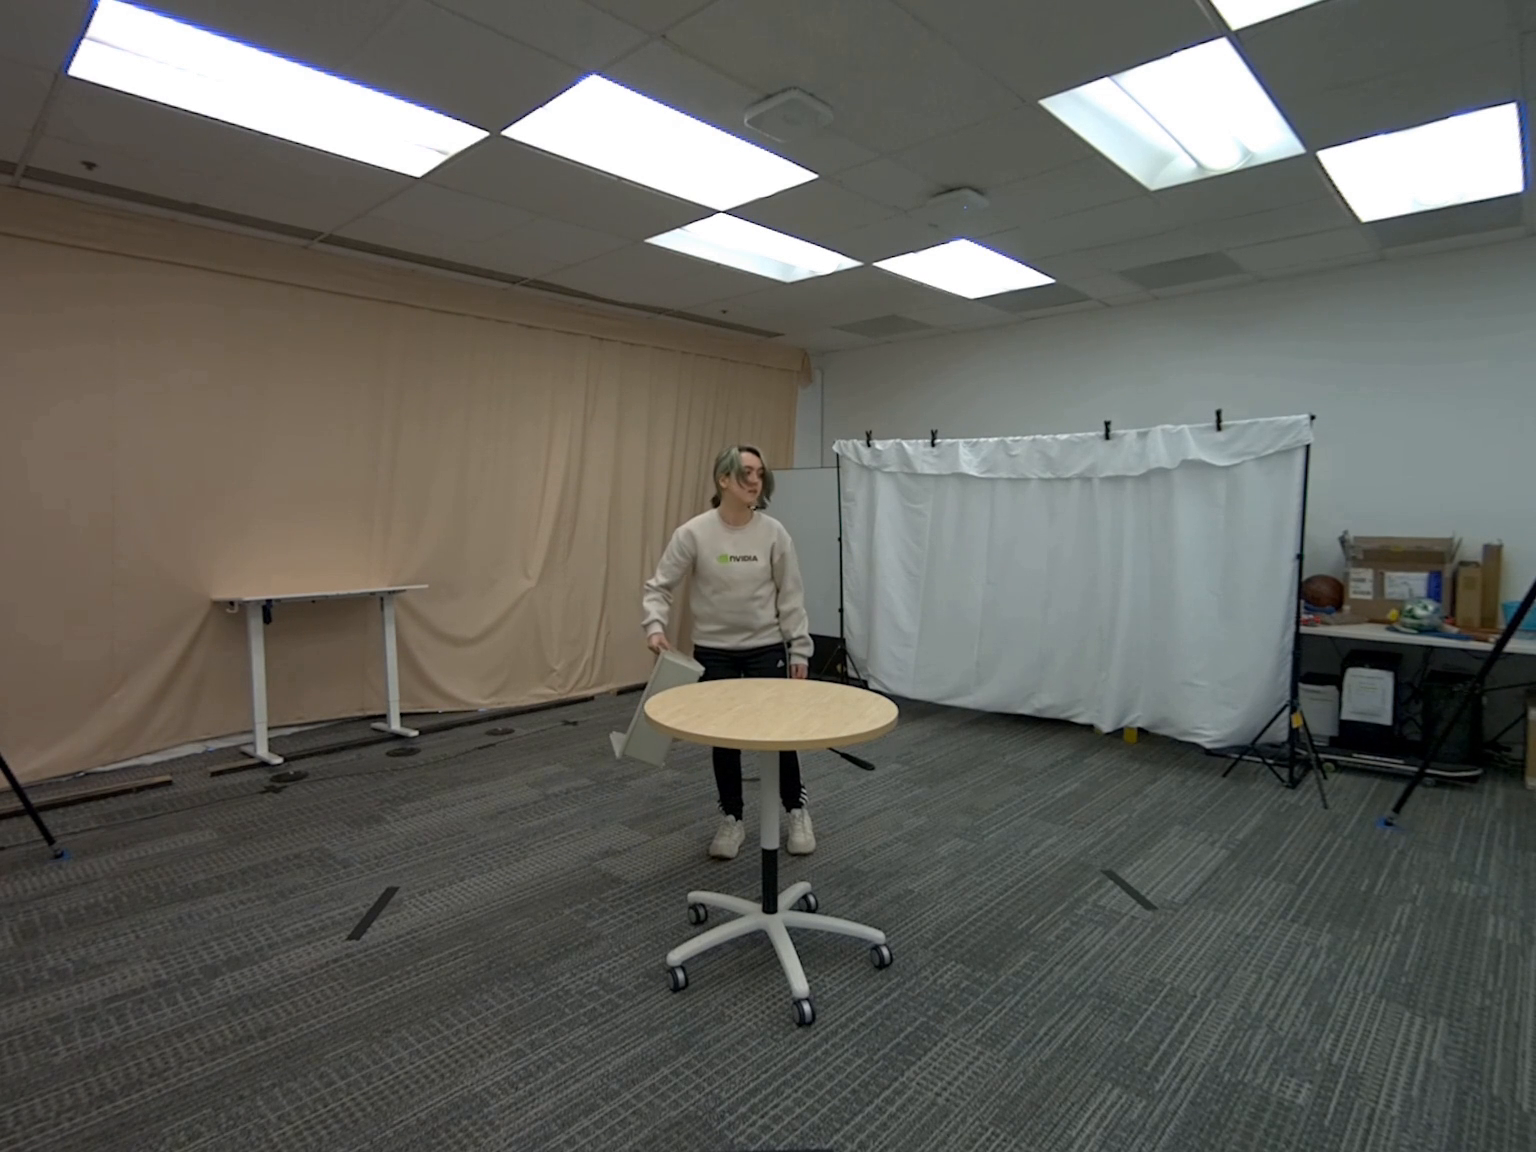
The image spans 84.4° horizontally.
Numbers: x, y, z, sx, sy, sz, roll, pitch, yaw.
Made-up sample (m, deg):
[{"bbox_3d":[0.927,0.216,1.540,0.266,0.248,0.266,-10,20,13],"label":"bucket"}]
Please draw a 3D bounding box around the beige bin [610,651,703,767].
[{"bbox_3d":[-0.440,0.487,3.258,0.186,0.422,0.383,25,-3,-14],"label":"beige bin"}]
